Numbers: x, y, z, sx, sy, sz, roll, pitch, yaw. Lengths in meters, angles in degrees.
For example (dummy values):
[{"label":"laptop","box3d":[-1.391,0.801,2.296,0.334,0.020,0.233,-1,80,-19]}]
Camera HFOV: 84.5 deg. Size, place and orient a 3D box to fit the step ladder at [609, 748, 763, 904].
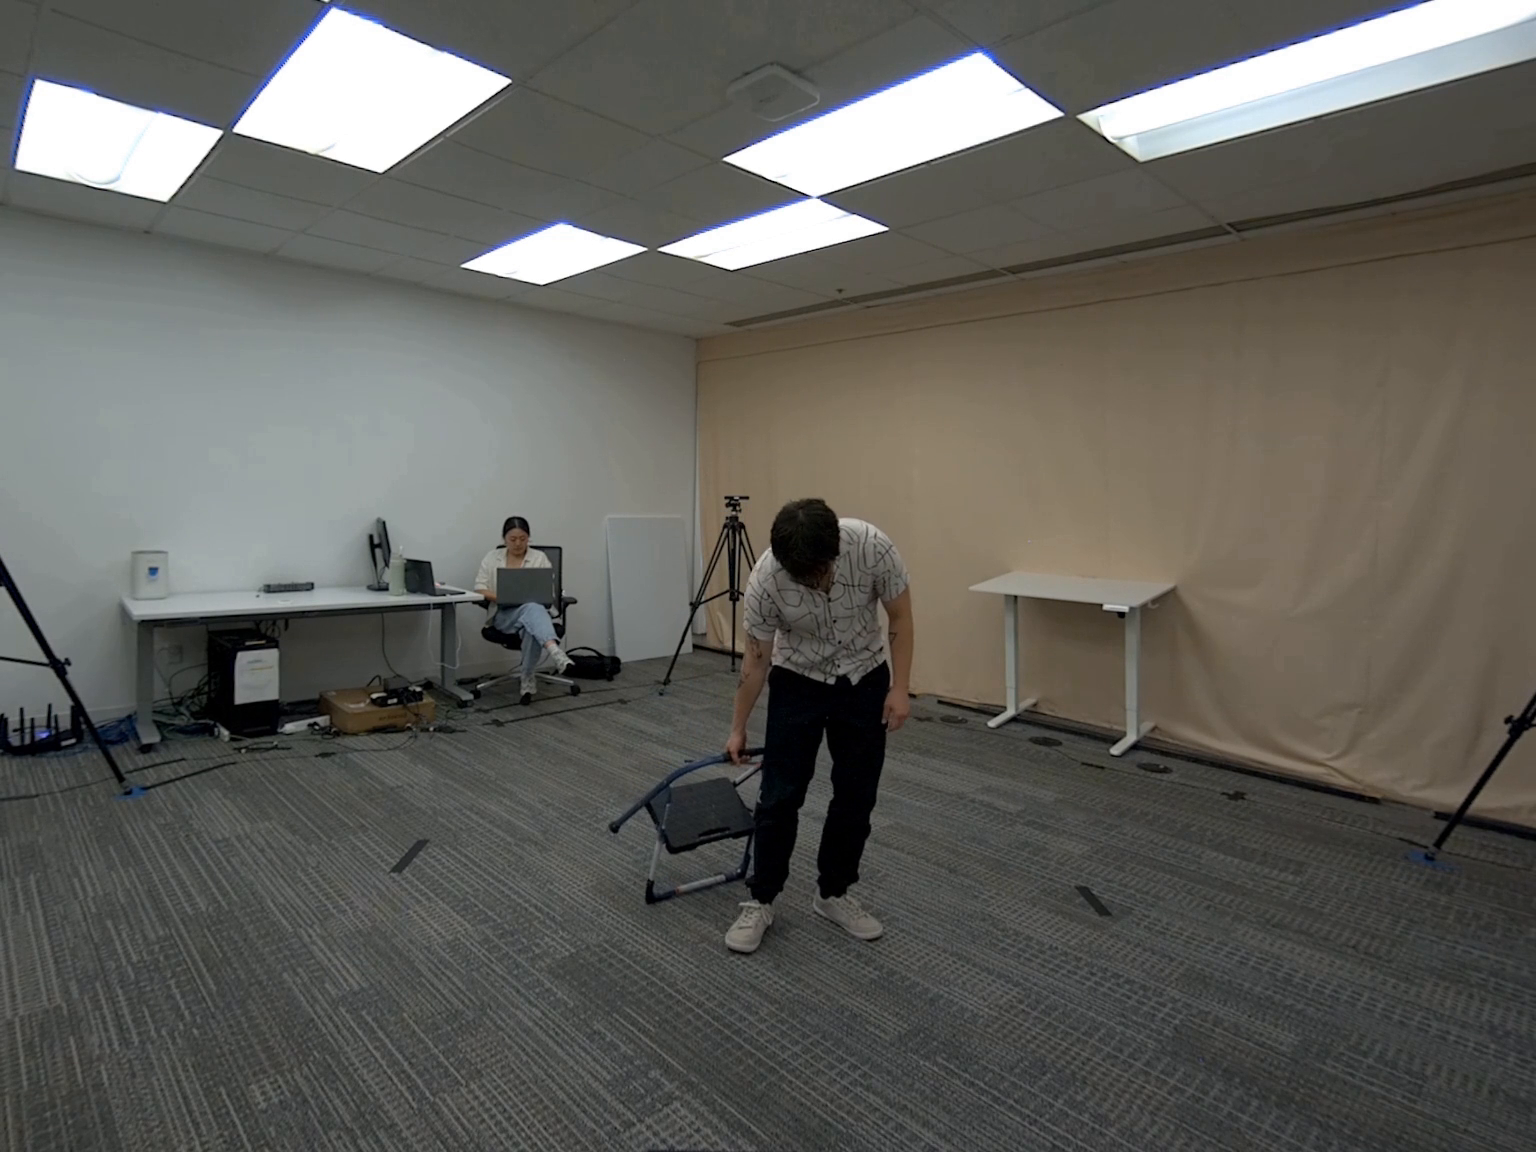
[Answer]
[{"label":"step ladder","box3d":[-0.239,0.776,2.952,0.421,0.600,0.360,-2,38,-35]}]
